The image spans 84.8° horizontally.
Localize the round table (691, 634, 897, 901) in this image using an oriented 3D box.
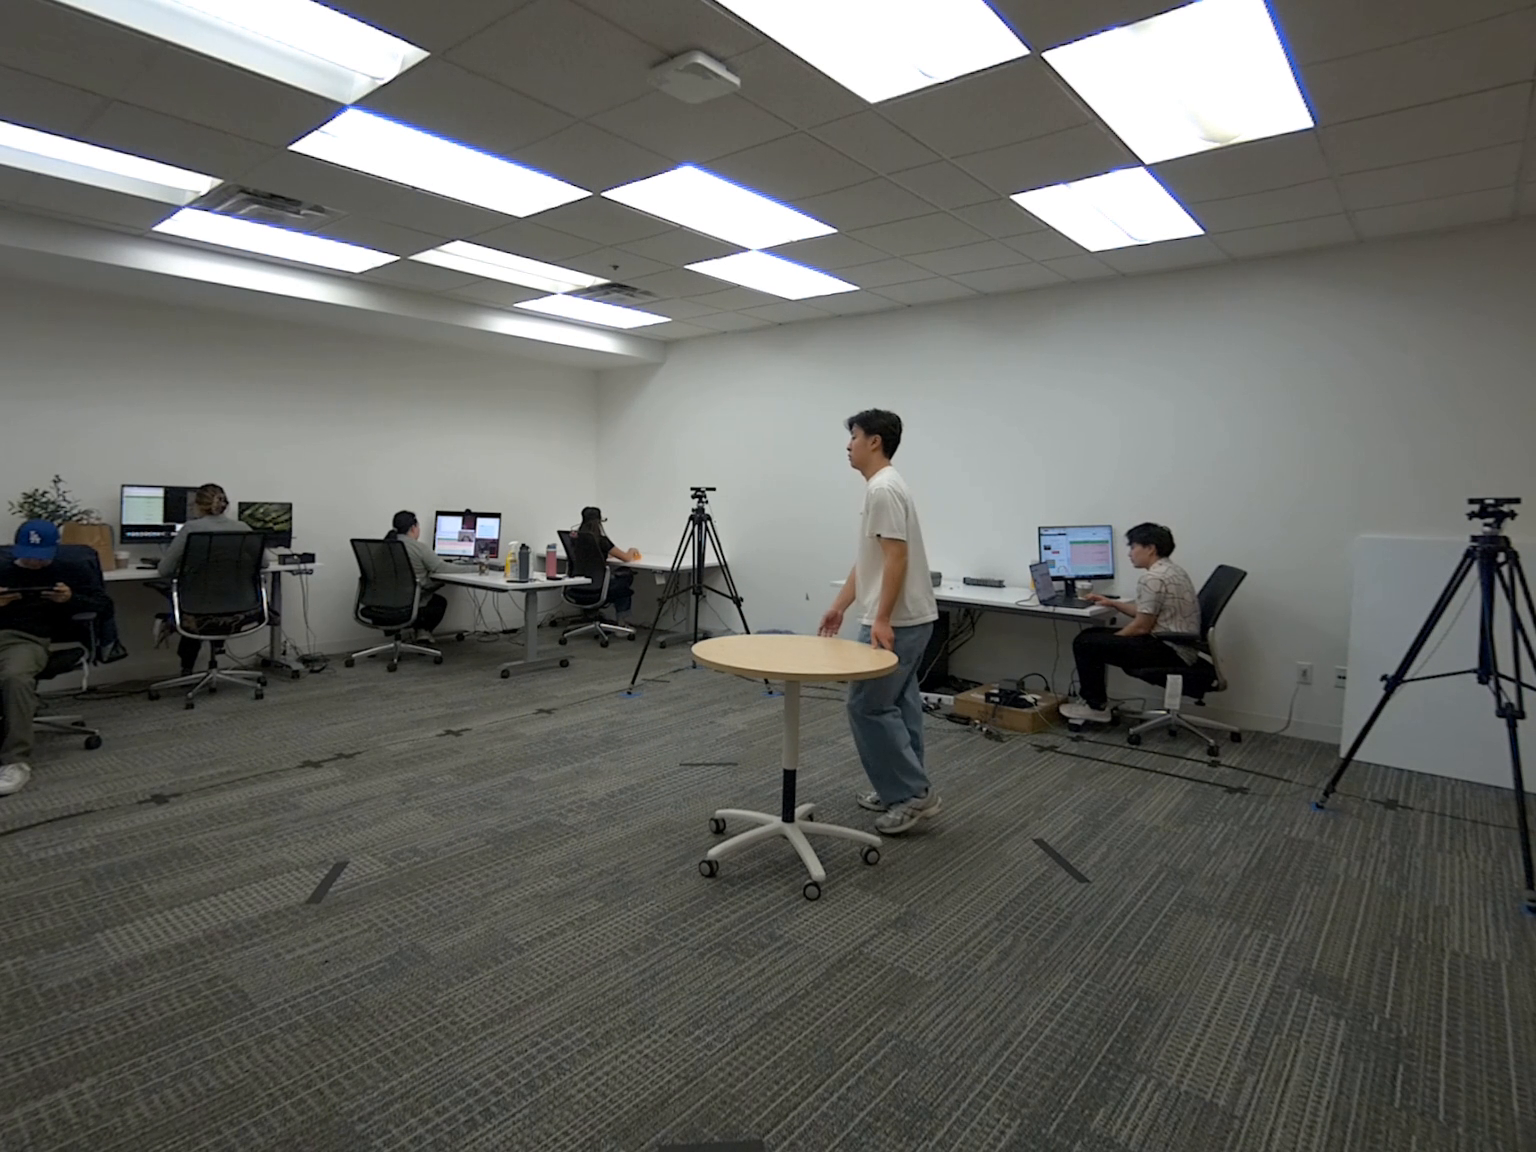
[{"bbox_3d":[0.073,0.674,3.196,0.763,0.792,0.768,2,4,-2],"label":"round table"}]
